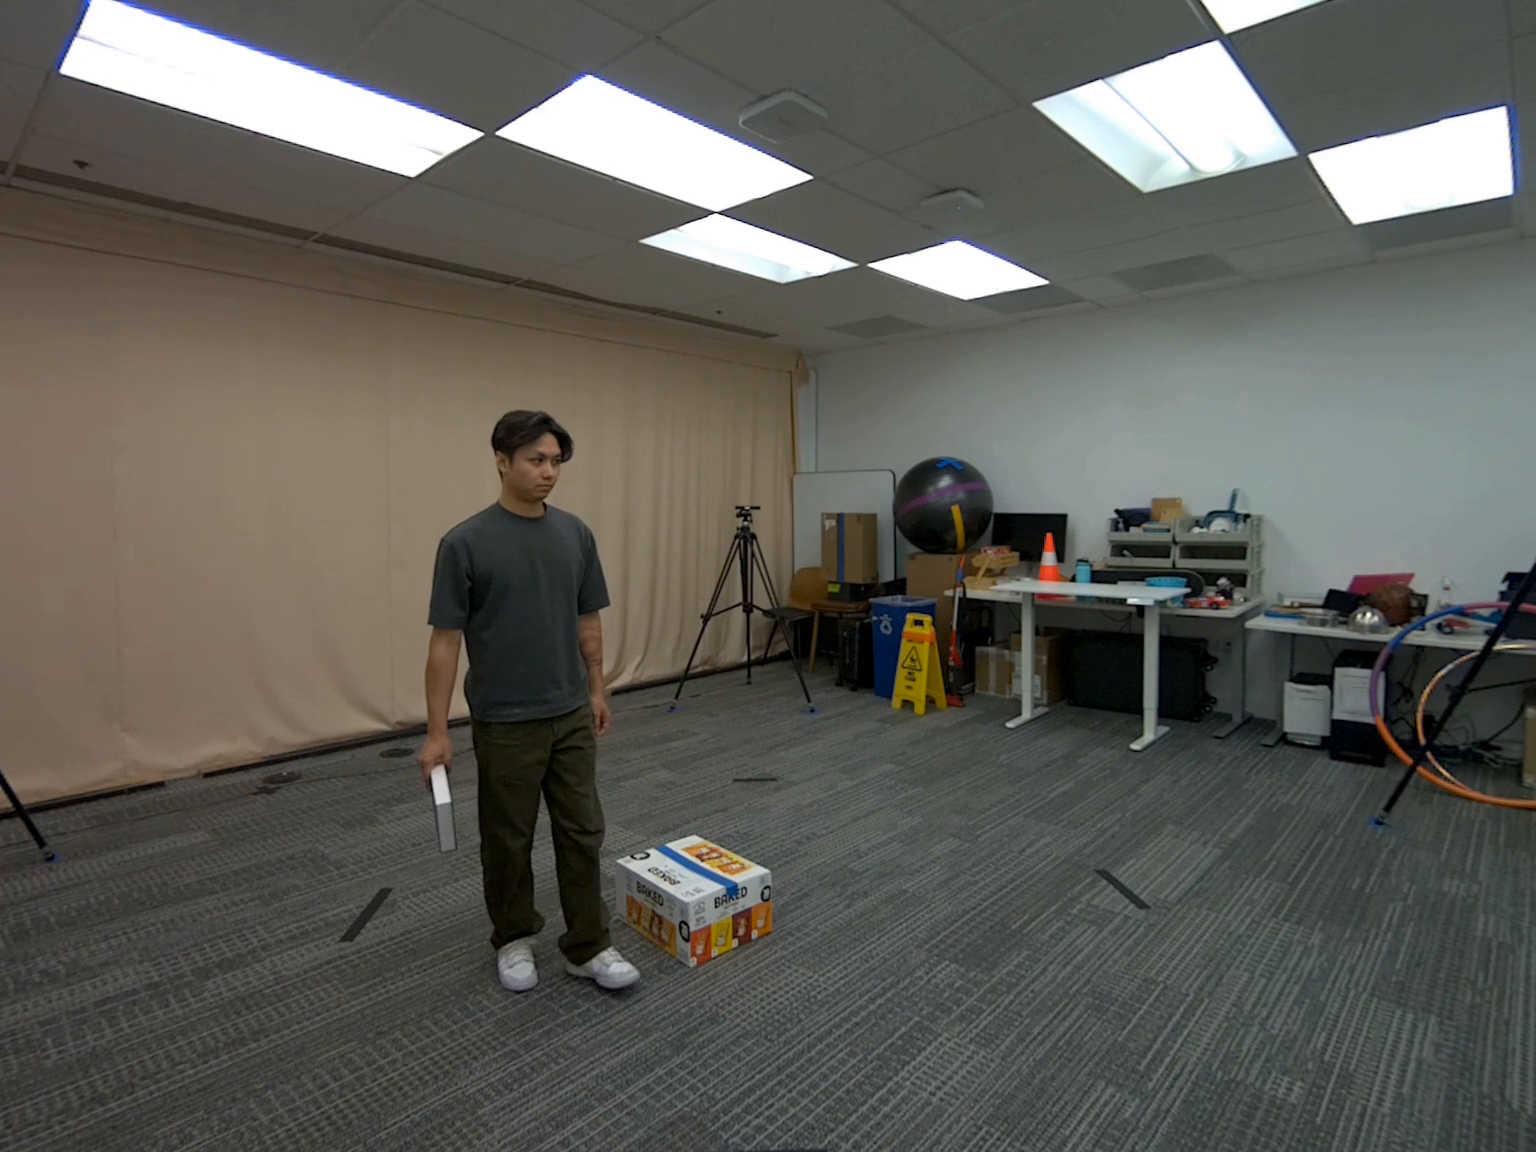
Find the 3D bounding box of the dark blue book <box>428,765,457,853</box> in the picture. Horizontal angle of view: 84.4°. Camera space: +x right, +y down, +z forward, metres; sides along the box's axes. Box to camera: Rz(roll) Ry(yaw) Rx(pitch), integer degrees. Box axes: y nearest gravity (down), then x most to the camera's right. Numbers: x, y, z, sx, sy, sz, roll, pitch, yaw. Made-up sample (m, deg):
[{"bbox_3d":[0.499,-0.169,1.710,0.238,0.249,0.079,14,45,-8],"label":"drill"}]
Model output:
[{"bbox_3d":[-0.873,0.594,2.283,0.044,0.161,0.253,-5,25,-22],"label":"dark blue book"}]
